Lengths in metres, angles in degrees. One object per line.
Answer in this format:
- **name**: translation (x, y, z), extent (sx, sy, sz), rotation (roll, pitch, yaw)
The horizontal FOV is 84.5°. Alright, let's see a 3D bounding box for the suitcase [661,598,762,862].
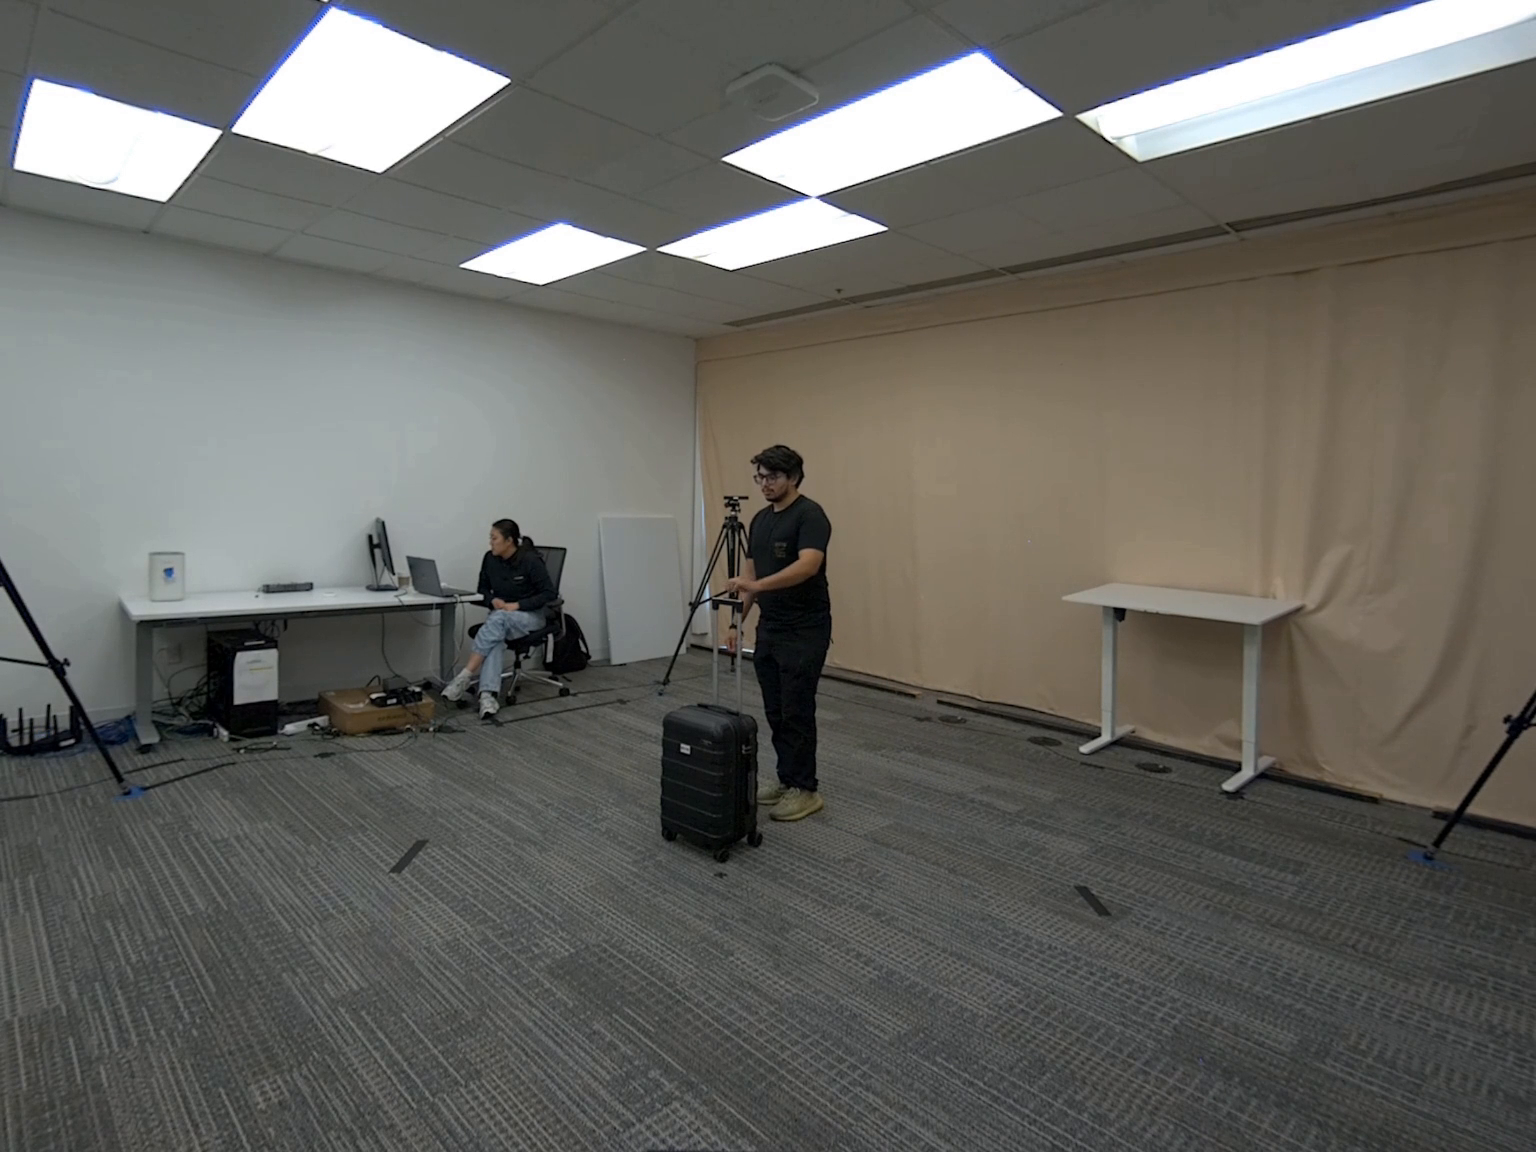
- **suitcase**: translation (-0.241, 0.600, 3.353), extent (0.394, 0.974, 0.251), rotation (5, 8, 42)
